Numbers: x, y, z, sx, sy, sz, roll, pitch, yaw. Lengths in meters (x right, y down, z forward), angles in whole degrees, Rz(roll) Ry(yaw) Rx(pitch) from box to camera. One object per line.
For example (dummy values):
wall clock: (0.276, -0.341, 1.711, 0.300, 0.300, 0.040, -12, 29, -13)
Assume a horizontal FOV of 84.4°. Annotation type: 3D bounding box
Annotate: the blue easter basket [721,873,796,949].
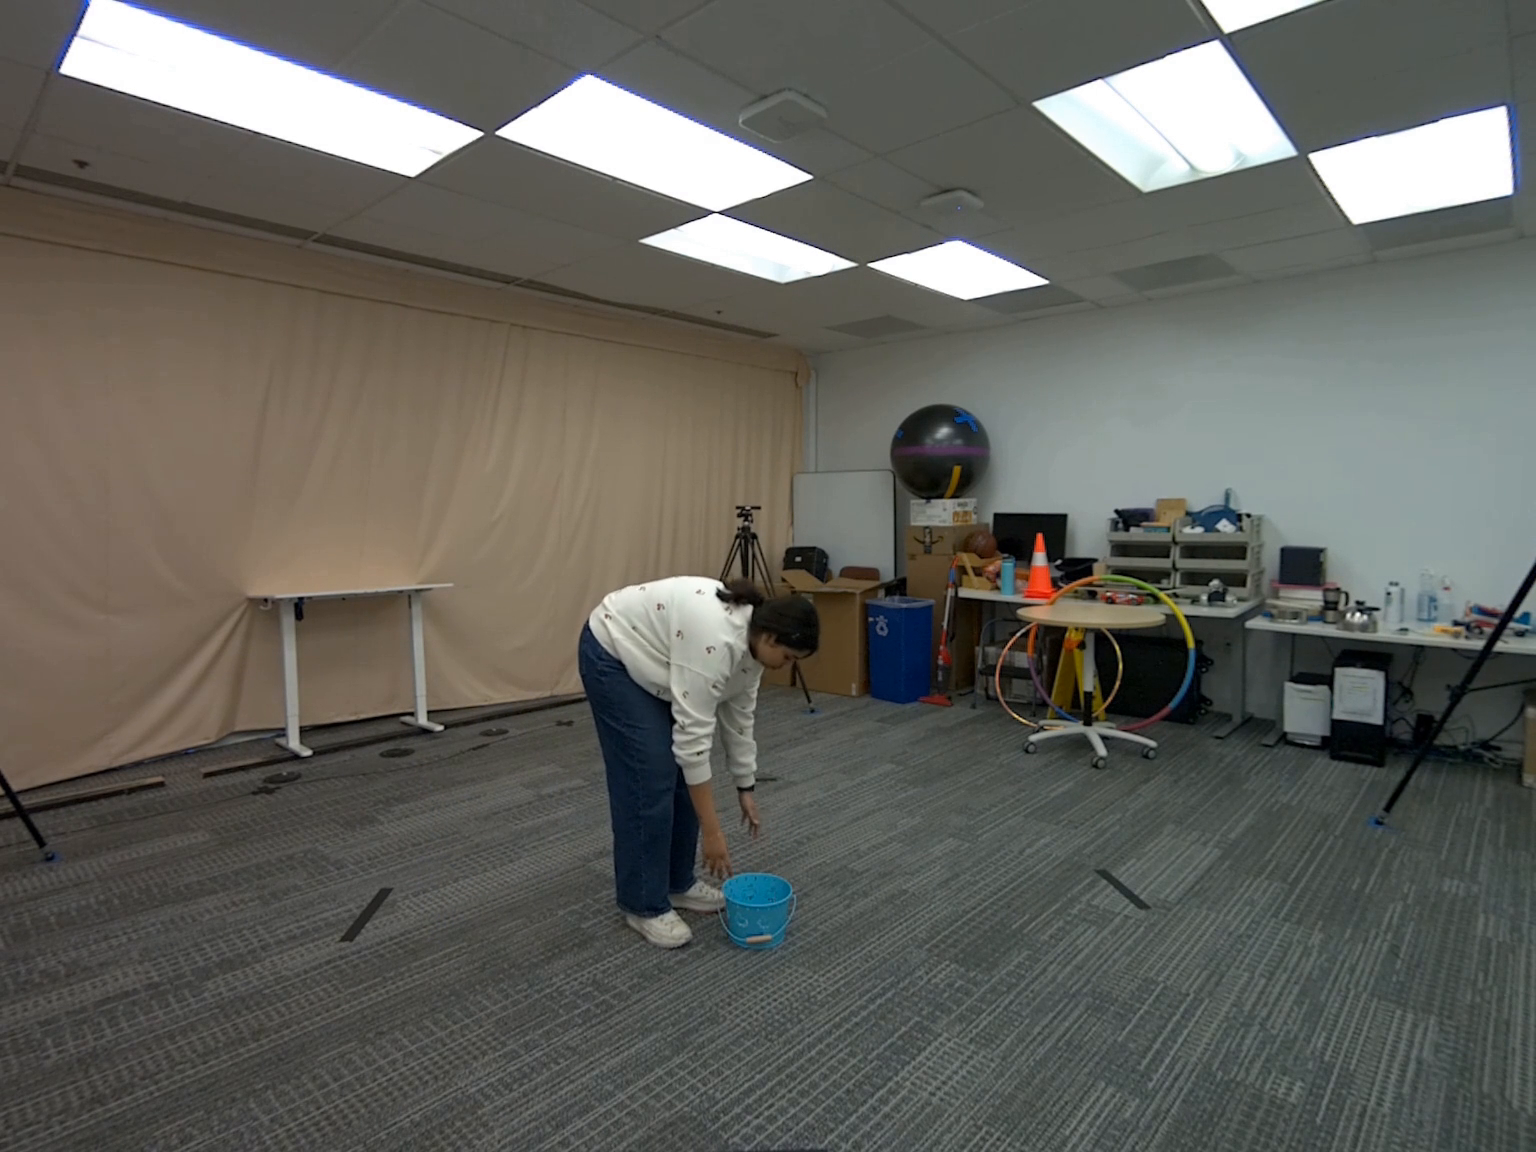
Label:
blue easter basket: (-0.035, 1.085, 2.728, 0.243, 0.155, 0.244, -1, 5, -2)
